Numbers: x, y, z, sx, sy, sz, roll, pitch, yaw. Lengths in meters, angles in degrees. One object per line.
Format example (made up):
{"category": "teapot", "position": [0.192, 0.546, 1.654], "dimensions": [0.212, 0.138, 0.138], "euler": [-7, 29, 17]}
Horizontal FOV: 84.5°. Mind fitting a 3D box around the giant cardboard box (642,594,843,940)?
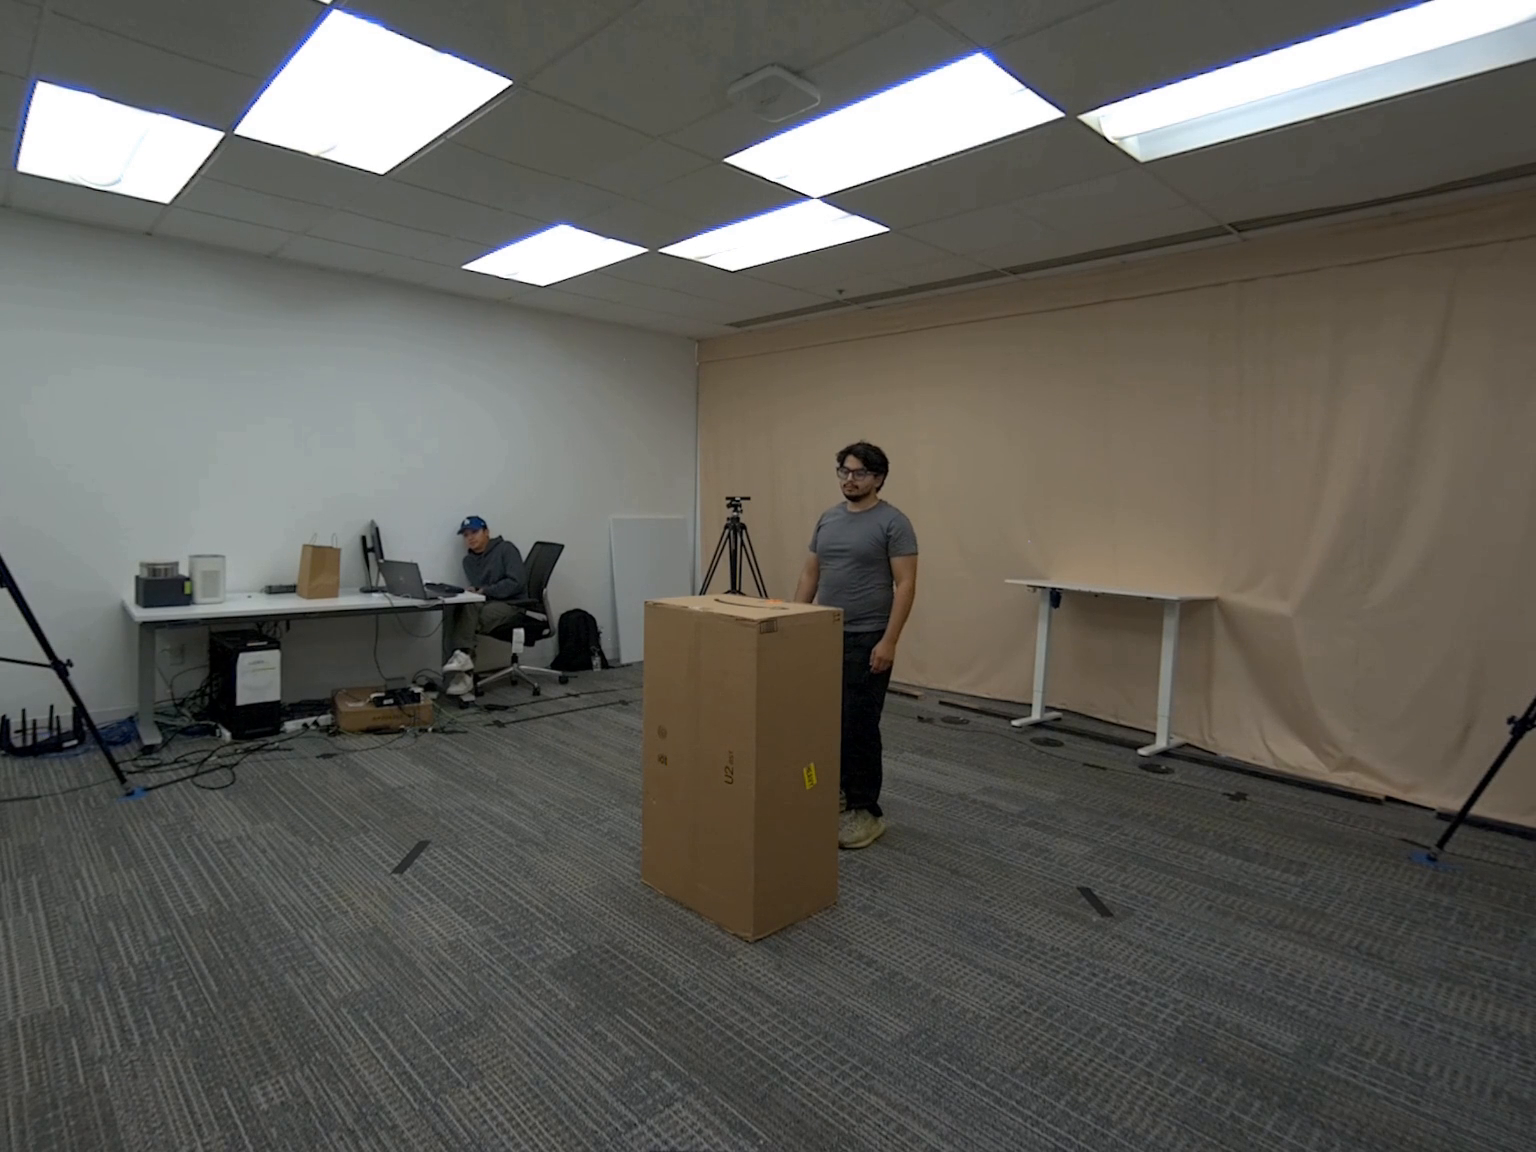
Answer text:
{"category": "giant cardboard box", "position": [-0.105, 0.613, 2.957], "dimensions": [0.416, 1.023, 0.592], "euler": [-2, 4, -44]}
